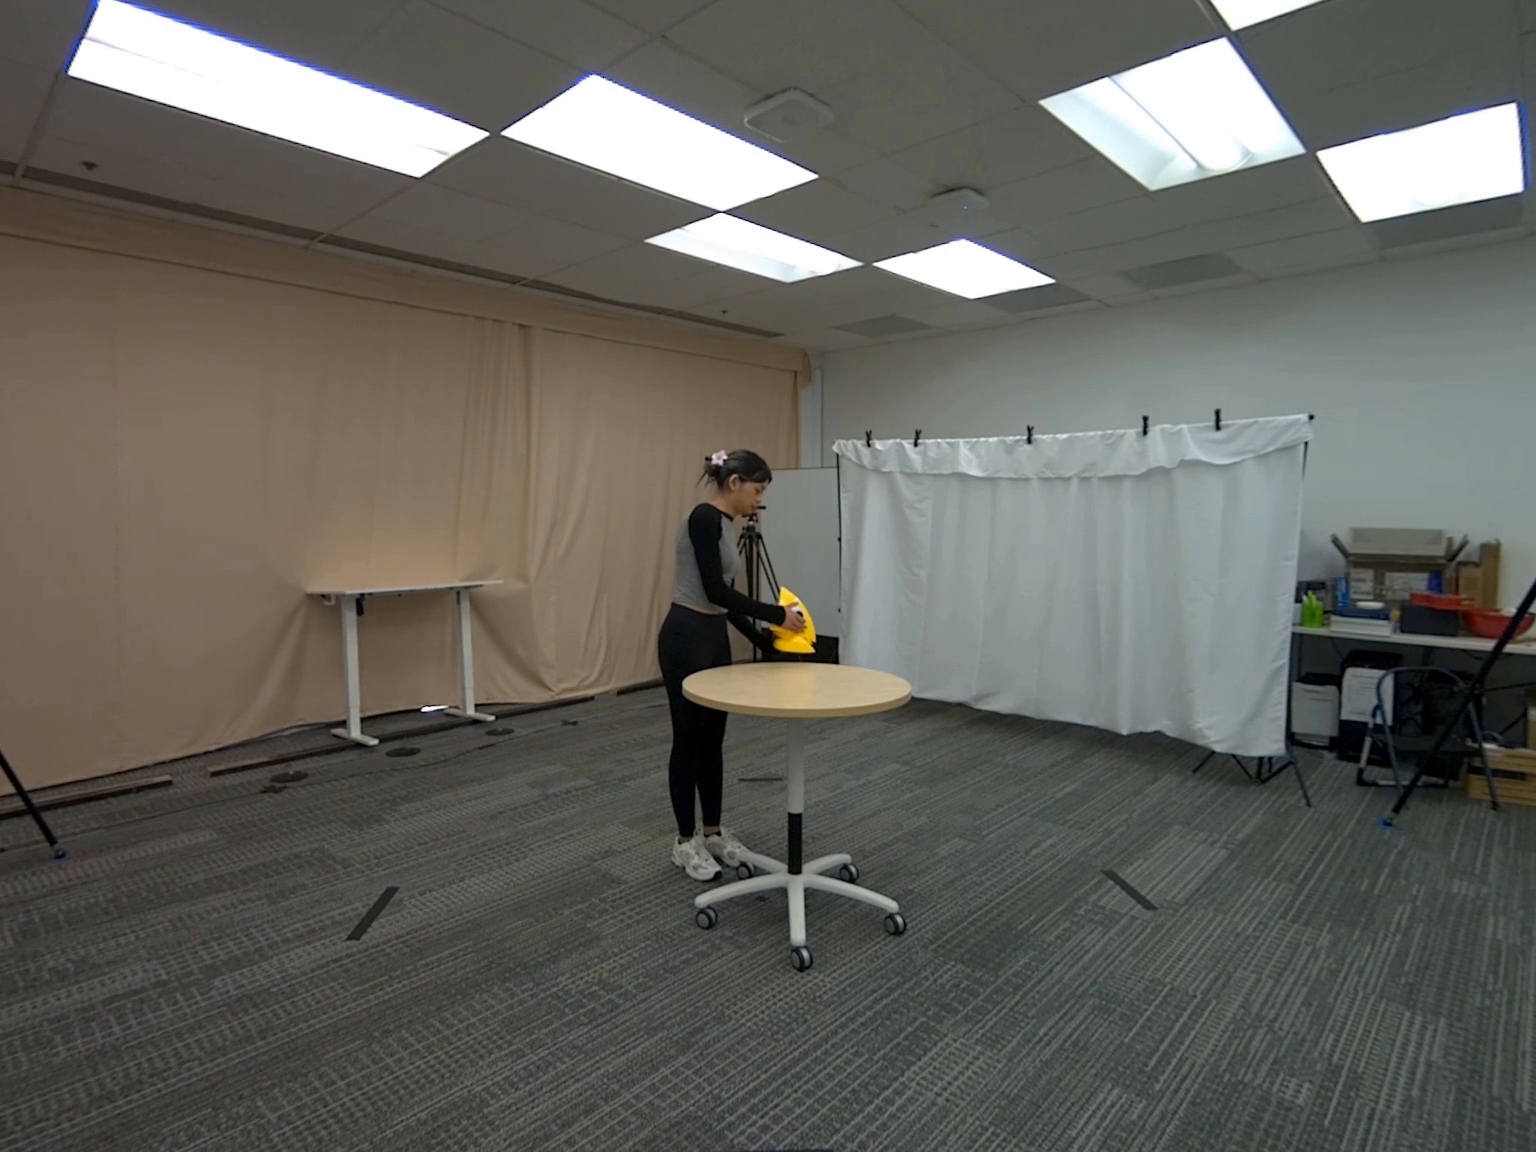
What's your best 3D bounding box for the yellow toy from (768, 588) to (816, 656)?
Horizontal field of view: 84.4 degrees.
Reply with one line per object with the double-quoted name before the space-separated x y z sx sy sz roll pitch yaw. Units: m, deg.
"yellow toy" 0.103 0.159 3.280 0.193 0.230 0.206 5 8 -1
